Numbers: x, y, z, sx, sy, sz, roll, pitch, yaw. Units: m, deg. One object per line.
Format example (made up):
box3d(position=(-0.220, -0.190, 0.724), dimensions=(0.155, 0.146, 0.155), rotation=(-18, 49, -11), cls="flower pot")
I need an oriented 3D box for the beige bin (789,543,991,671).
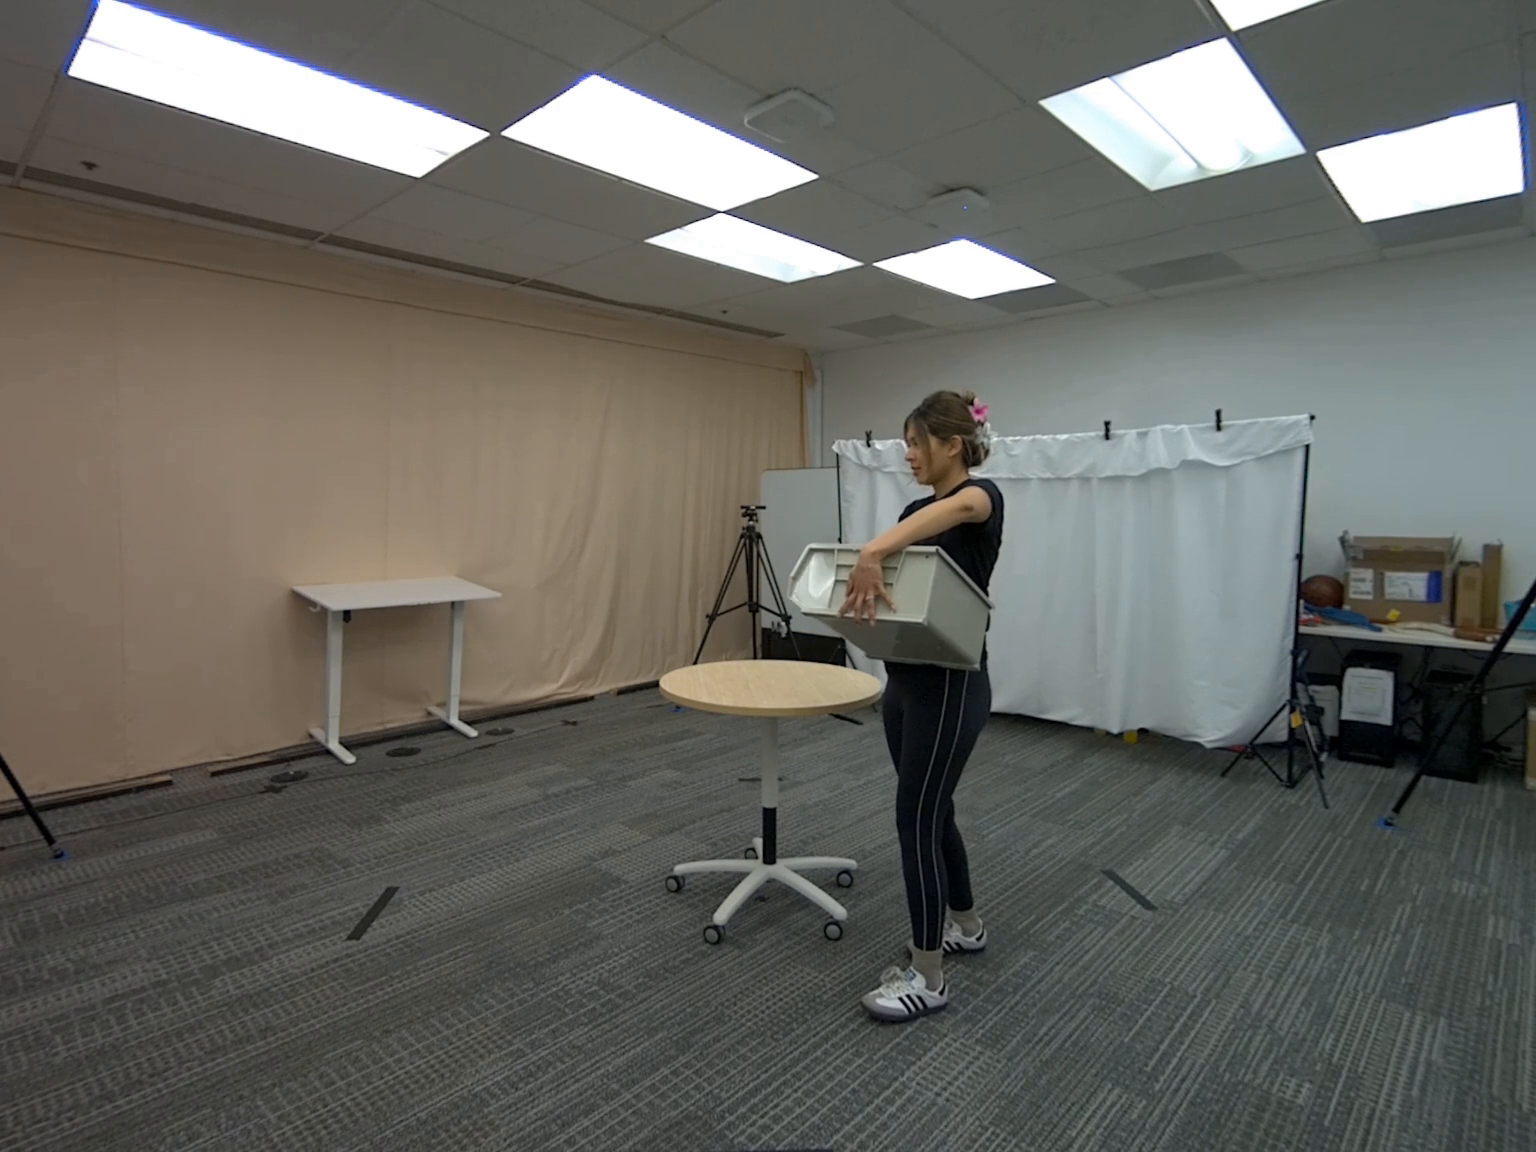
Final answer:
box3d(position=(0.317, 0.086, 2.136), dimensions=(0.389, 0.190, 0.407), rotation=(4, -18, 34), cls="beige bin")
